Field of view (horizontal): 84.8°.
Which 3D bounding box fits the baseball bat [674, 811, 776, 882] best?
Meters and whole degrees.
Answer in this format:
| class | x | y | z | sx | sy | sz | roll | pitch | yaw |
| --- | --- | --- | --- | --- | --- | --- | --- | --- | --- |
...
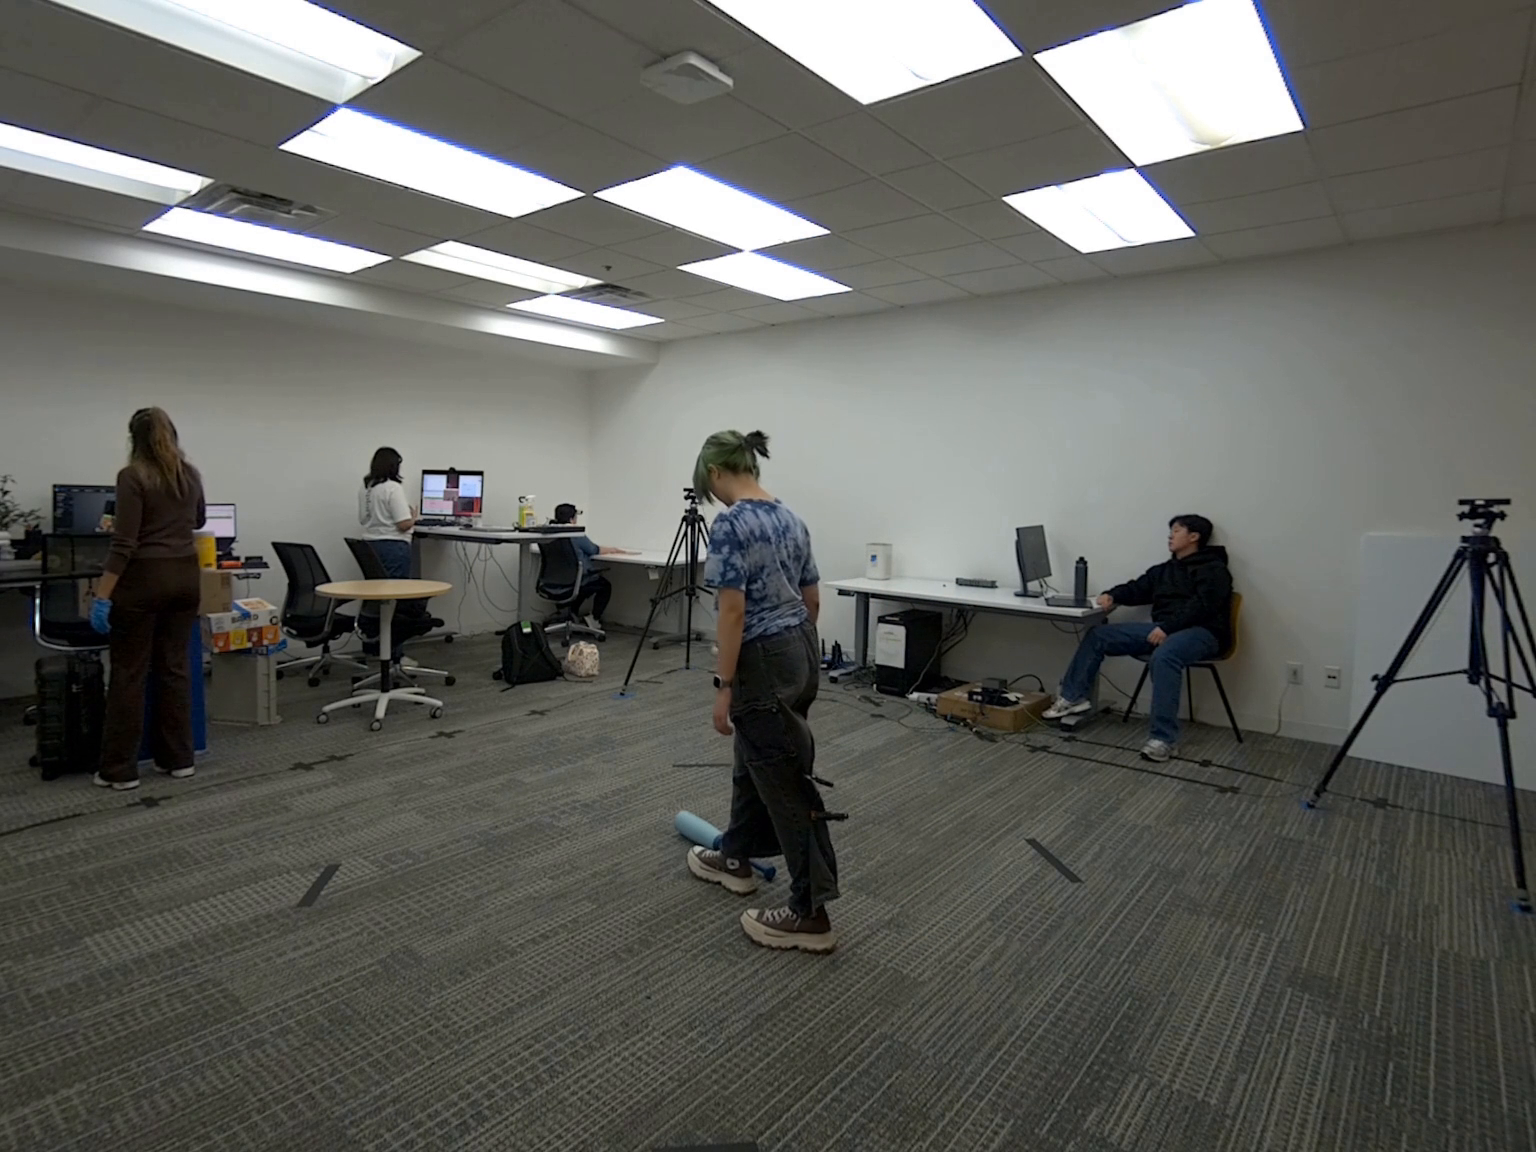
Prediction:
| class | x | y | z | sx | sy | sz | roll | pitch | yaw |
| --- | --- | --- | --- | --- | --- | --- | --- | --- | --- |
| baseball bat | -0.179 | 1.025 | 3.235 | 0.086 | 0.088 | 0.563 | -3 | 10 | -41 |
